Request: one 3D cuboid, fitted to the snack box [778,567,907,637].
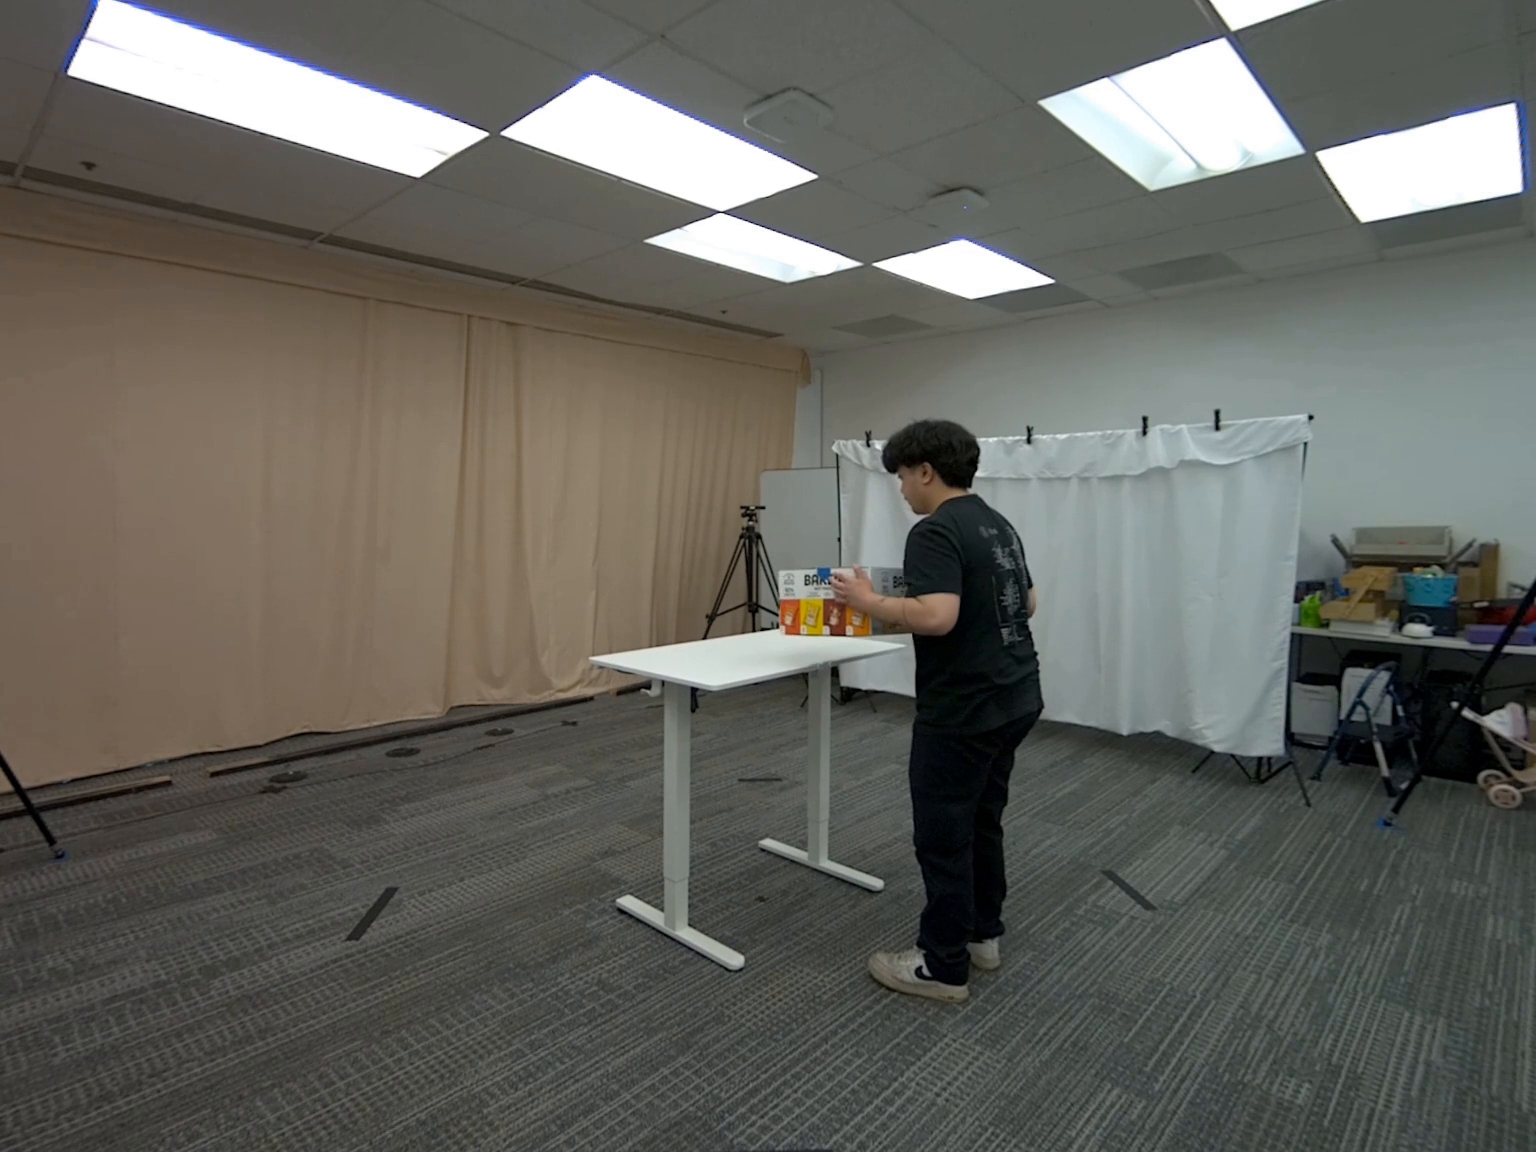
[{"bbox_3d":[0.294,0.087,2.676,0.351,0.206,0.392,-1,-2,41],"label":"snack box"}]
